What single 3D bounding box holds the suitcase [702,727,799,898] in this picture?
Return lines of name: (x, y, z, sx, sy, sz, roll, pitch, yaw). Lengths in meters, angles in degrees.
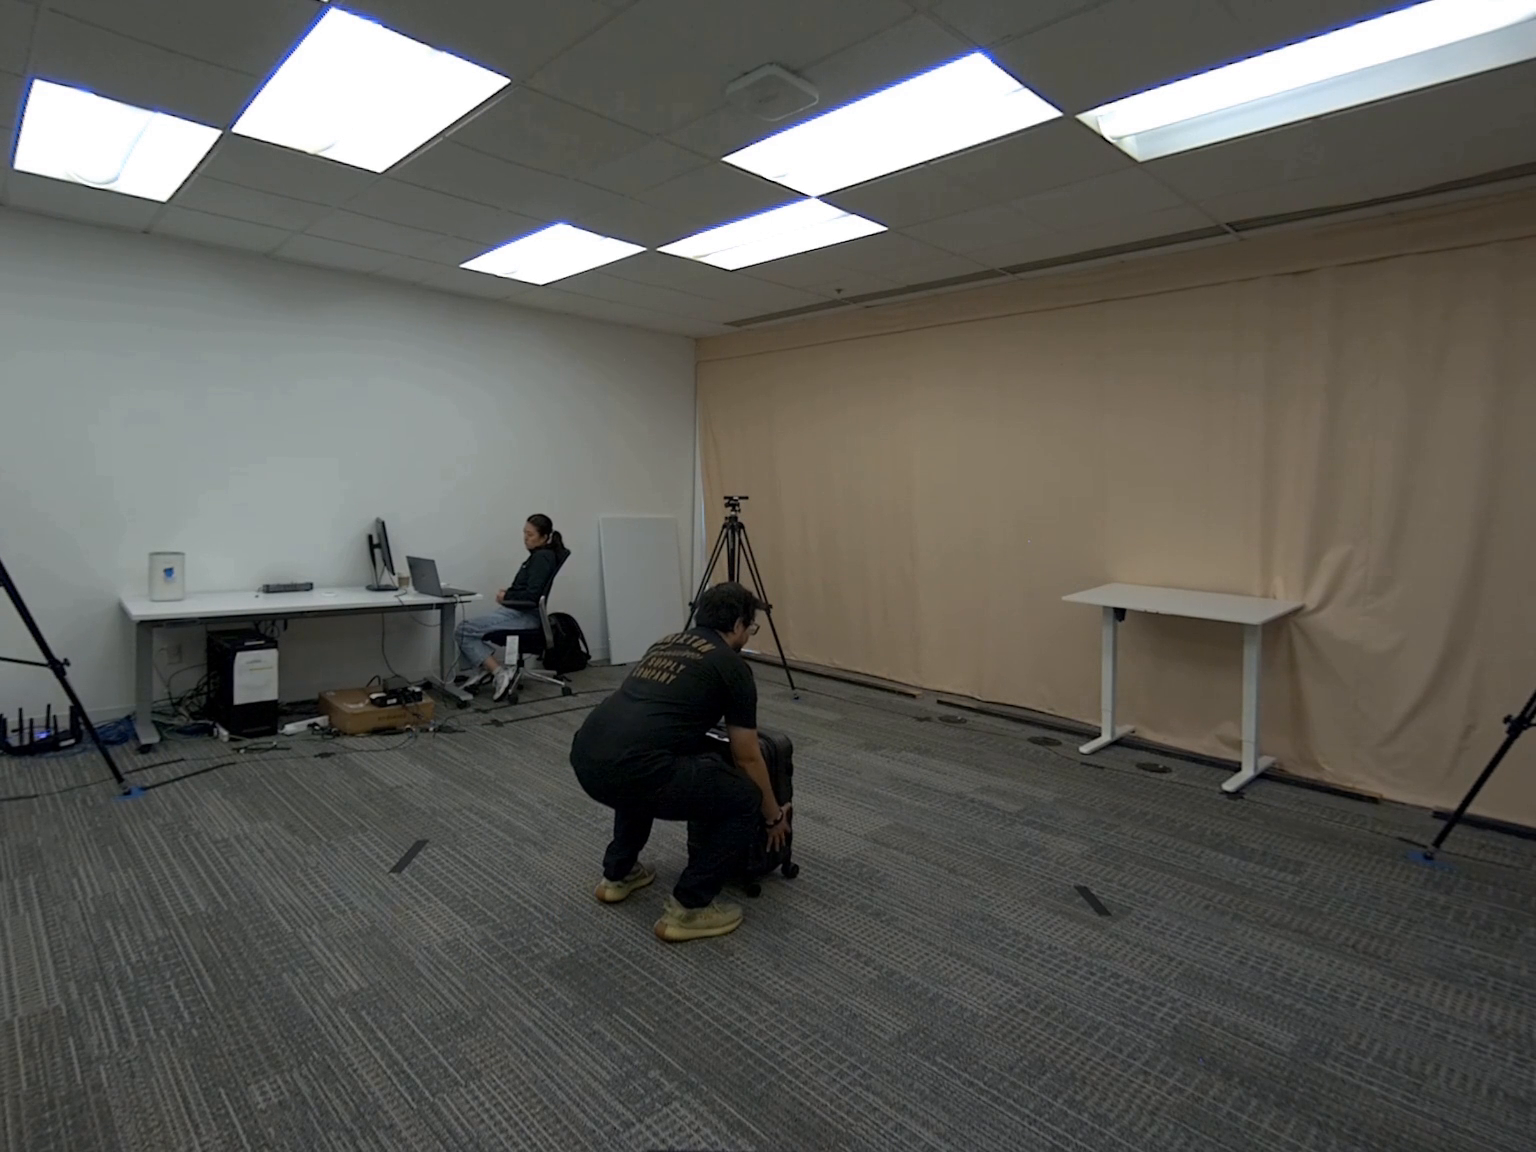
suitcase: (-0.103, 0.832, 3.114, 0.385, 0.548, 0.243, 3, 5, 44)
